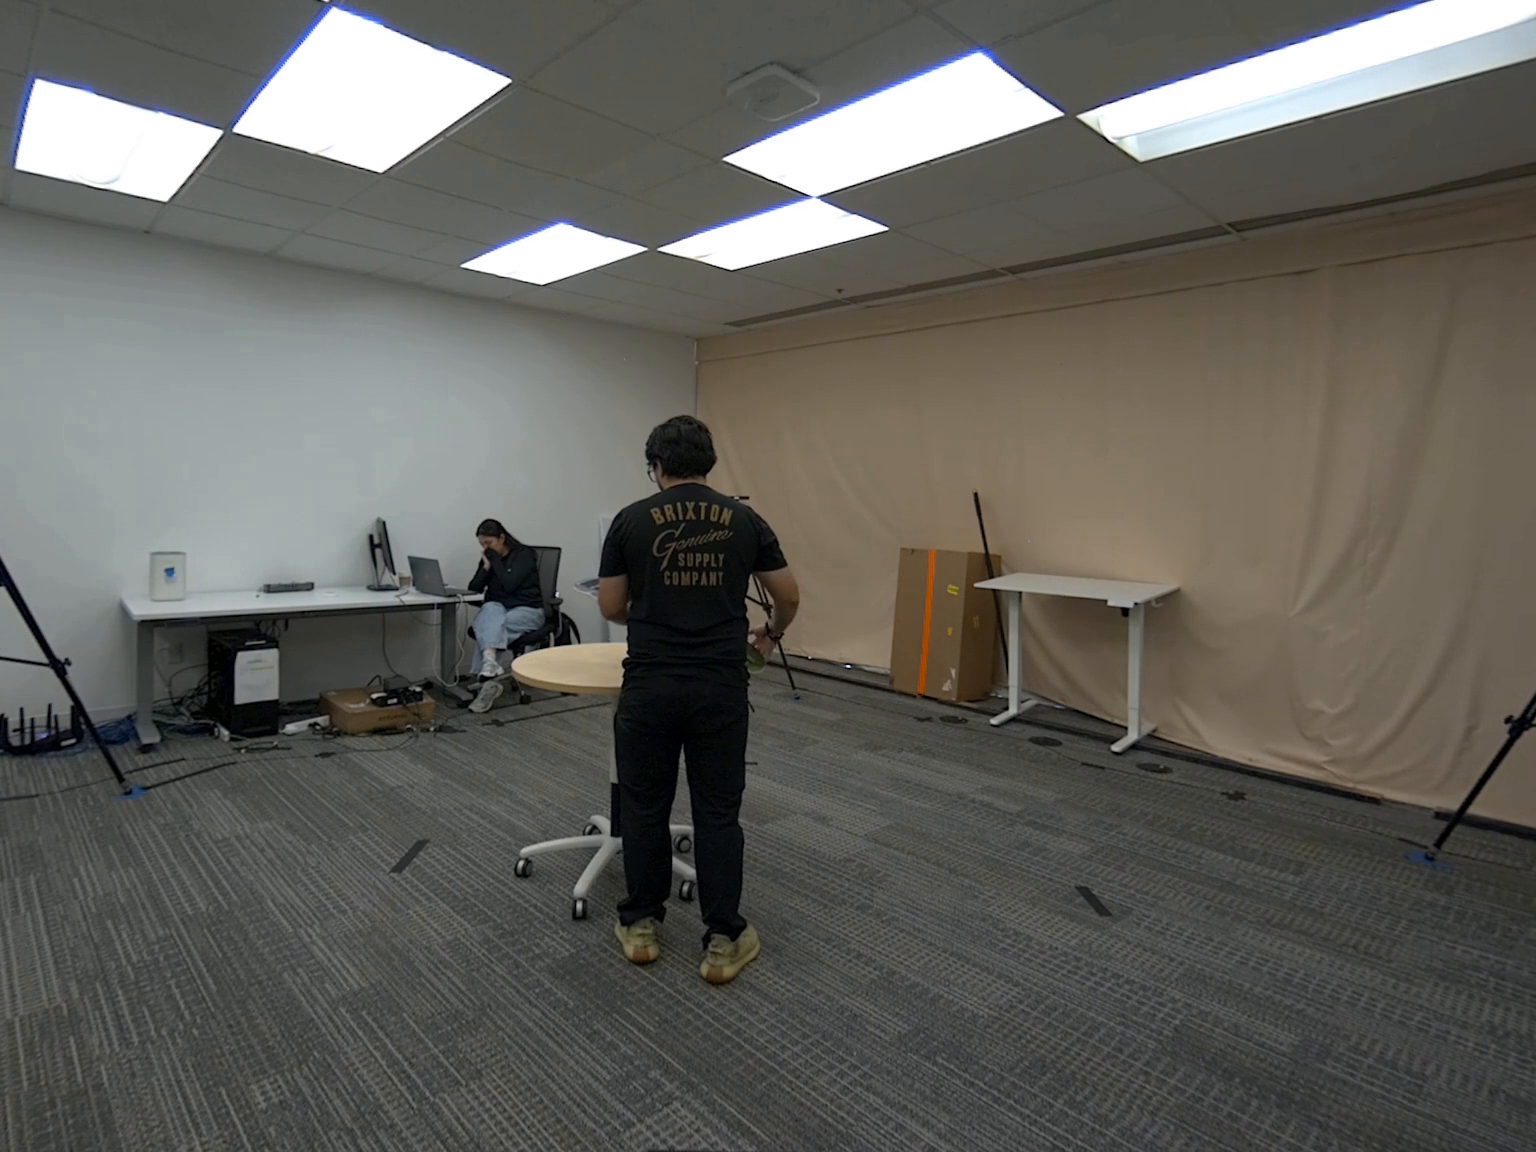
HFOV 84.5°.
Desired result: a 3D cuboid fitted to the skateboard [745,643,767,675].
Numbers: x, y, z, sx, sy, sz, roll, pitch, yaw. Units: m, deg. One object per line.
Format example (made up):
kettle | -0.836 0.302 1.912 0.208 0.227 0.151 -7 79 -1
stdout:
skateboard | -0.340 0.136 2.889 0.807 0.109 0.191 27 29 30
